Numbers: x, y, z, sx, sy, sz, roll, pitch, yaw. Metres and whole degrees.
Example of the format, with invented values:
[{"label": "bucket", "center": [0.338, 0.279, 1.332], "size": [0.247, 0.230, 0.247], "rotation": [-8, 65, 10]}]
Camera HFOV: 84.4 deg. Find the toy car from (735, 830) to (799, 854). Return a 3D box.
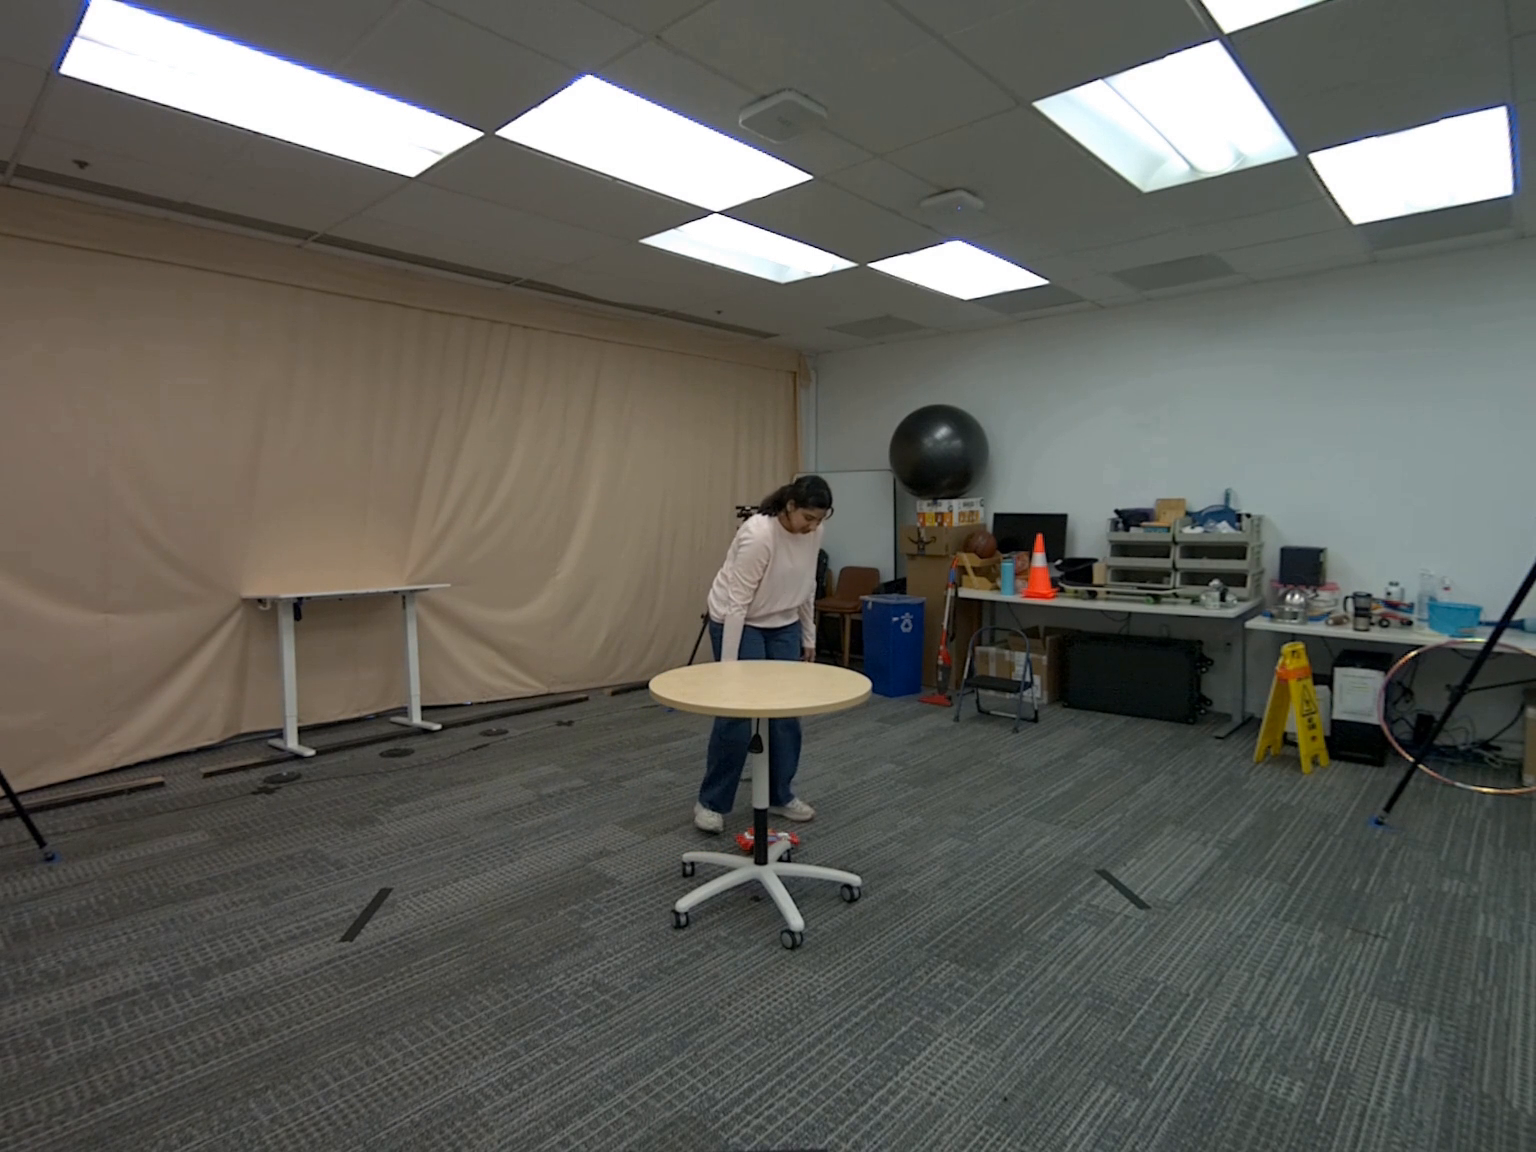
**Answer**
[{"label": "toy car", "center": [-0.015, 1.071, 3.402], "size": [0.251, 0.083, 0.132], "rotation": [11, 1, -11]}]
